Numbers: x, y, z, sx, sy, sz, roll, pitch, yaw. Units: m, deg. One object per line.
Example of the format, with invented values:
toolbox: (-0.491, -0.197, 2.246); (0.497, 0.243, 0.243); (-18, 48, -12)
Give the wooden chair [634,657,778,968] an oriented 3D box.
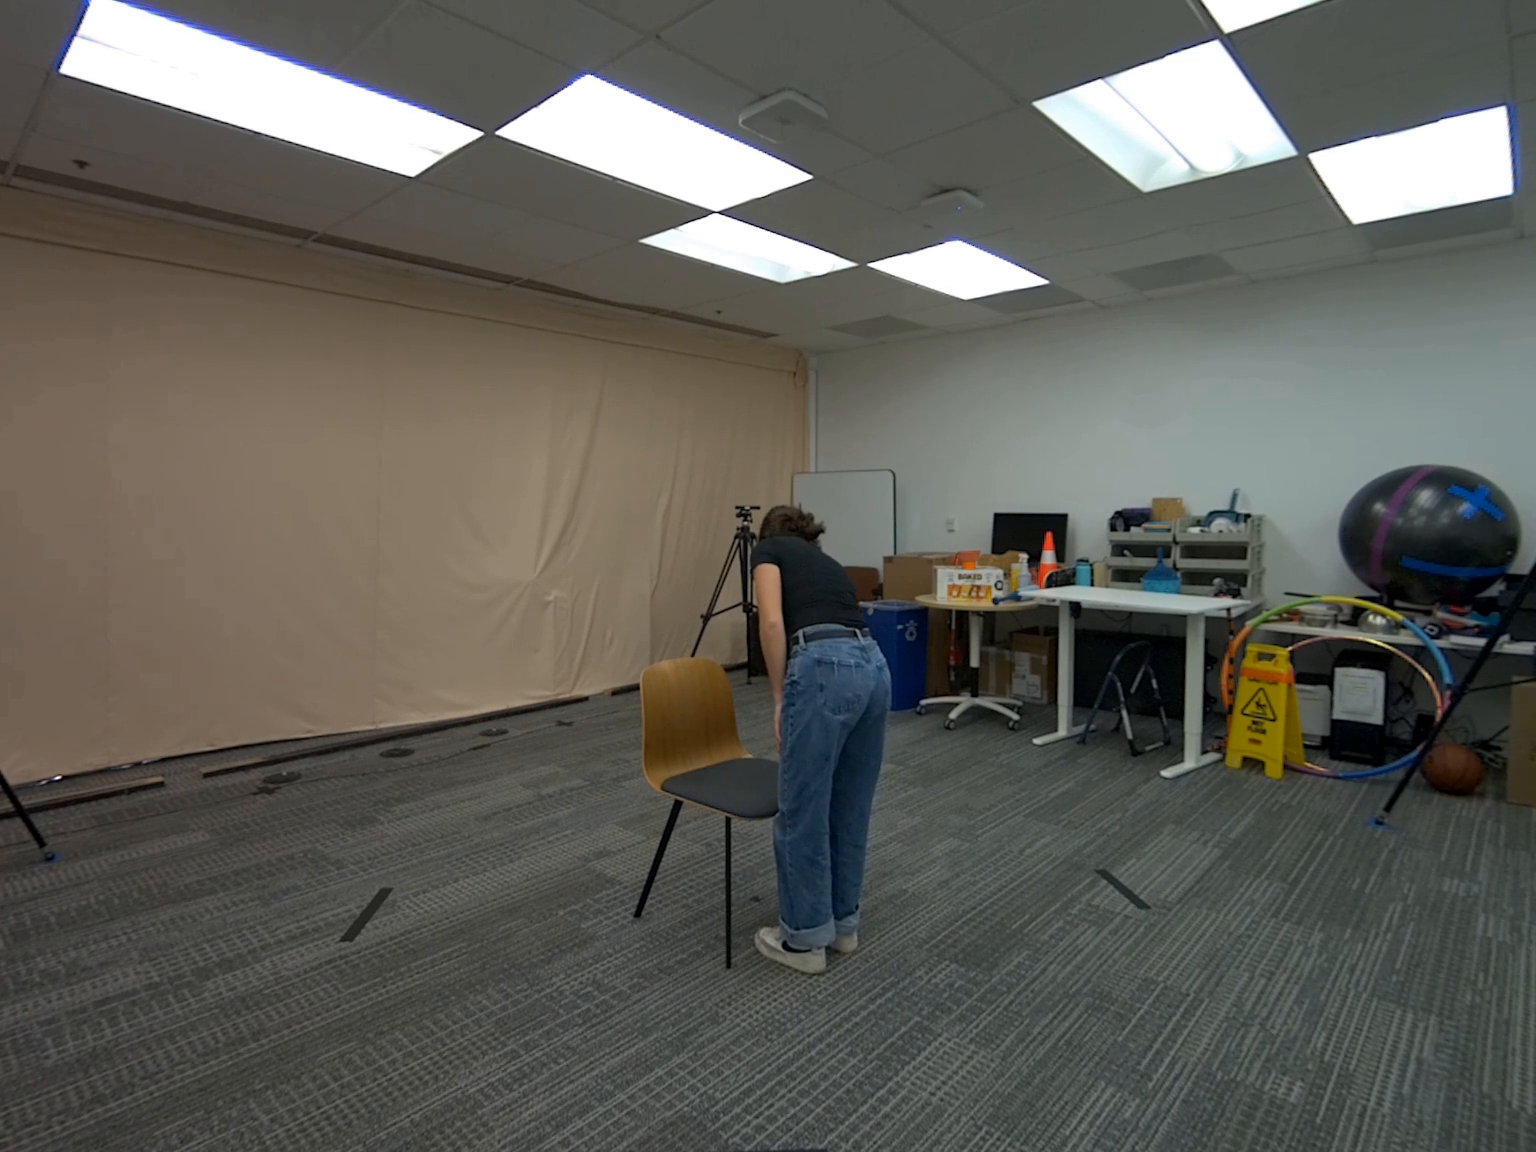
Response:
wooden chair: (-0.131, 0.732, 2.816); (0.539, 0.877, 0.463); (-3, 0, 44)
